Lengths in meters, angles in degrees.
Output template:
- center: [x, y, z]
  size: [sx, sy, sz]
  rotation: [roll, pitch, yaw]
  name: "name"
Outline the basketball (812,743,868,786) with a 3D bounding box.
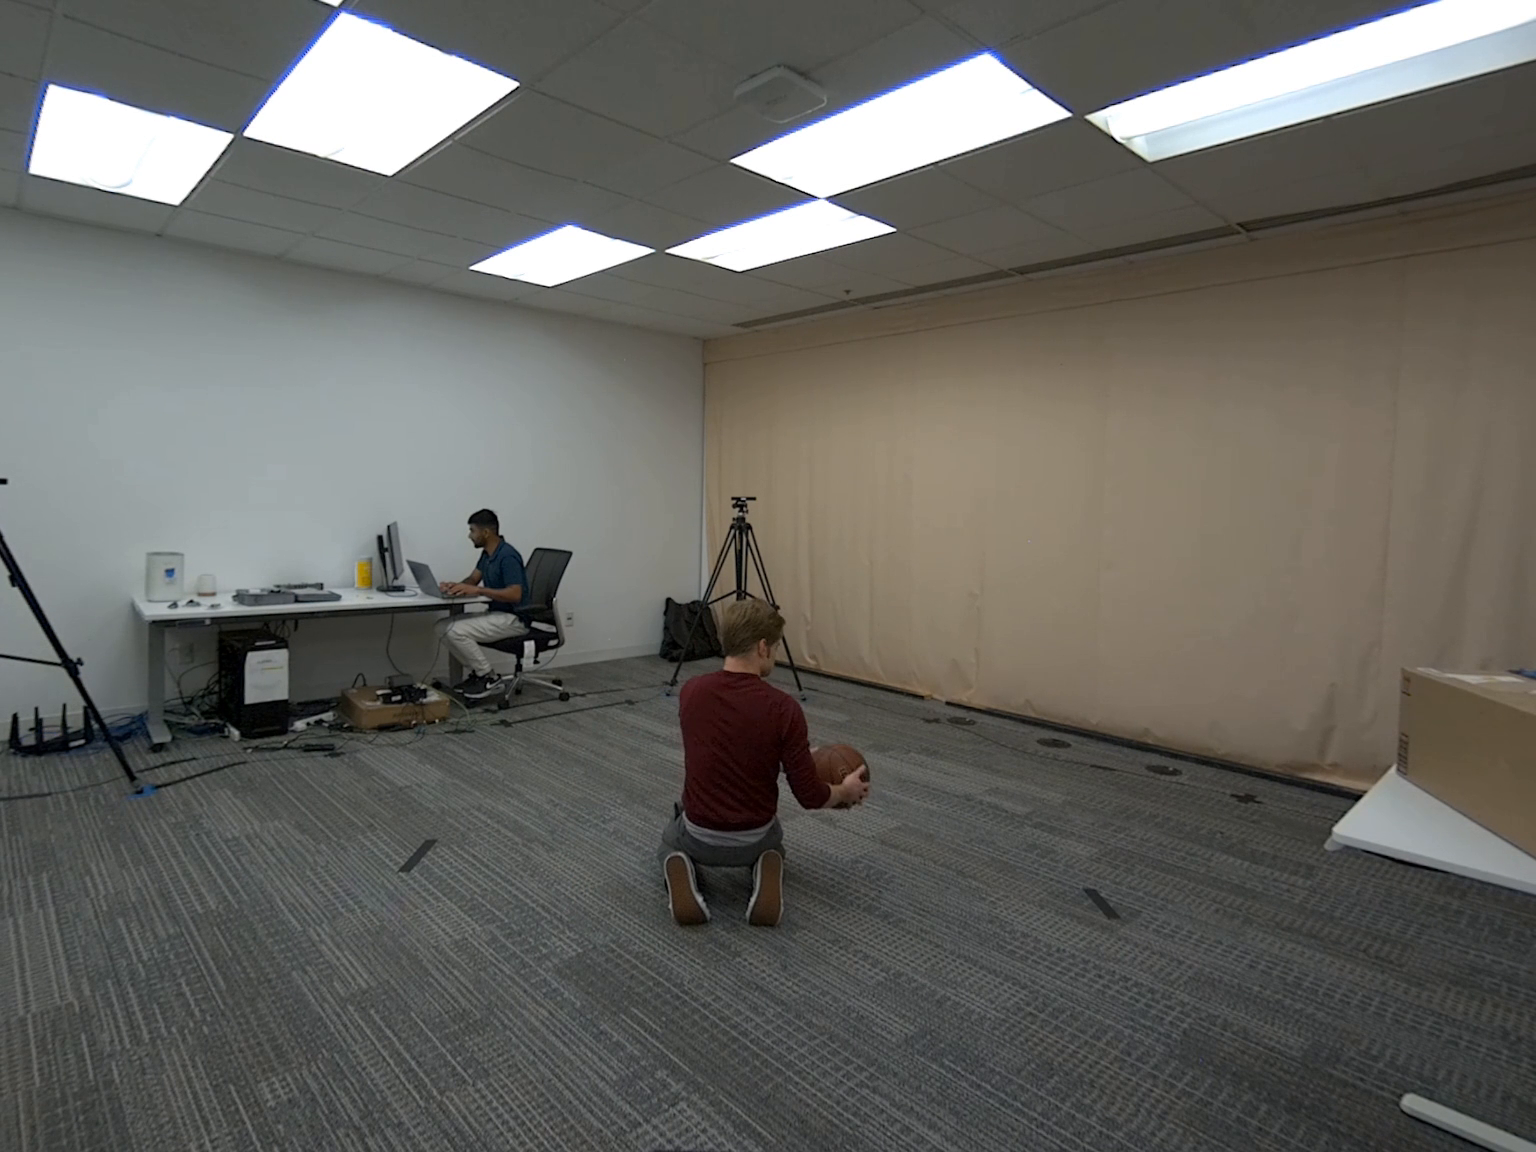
- center: [0.235, 0.738, 3.118]
  size: [0.236, 0.235, 0.237]
  rotation: [1, 4, -1]
  name: "basketball"
